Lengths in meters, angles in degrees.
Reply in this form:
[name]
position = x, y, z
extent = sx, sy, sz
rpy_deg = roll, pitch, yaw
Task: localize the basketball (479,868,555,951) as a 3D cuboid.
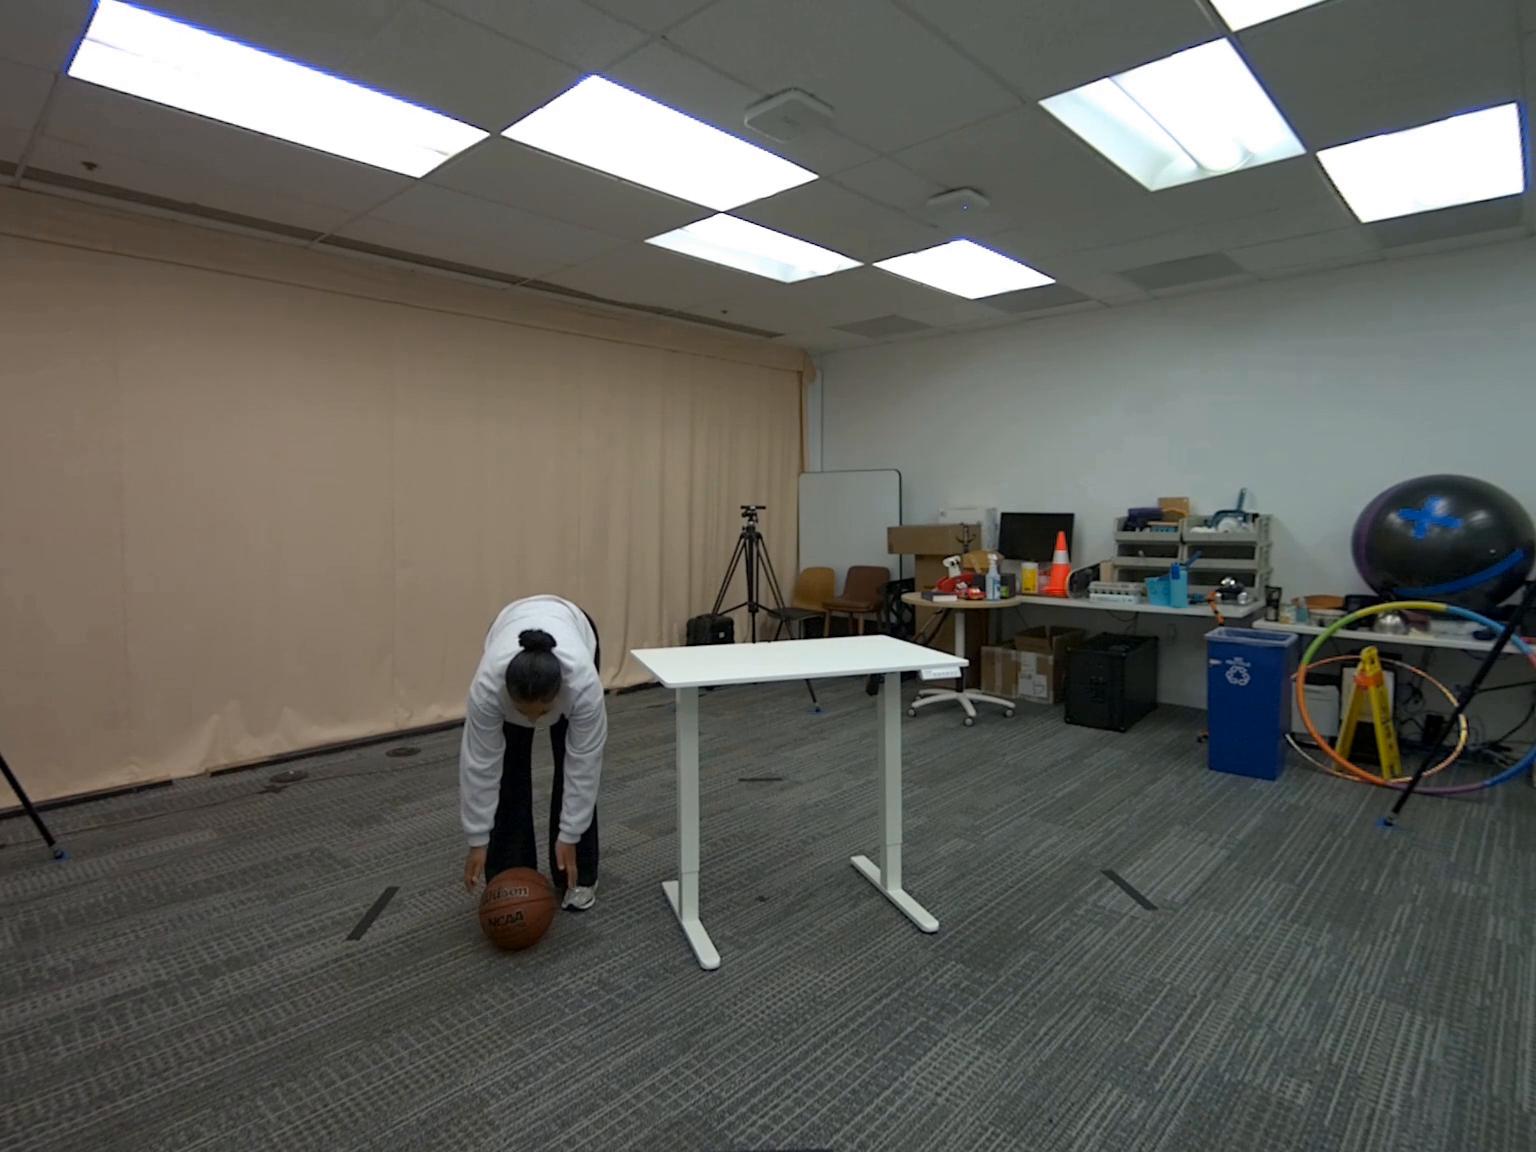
[basketball]
position = -0.801, 1.050, 2.680
extent = 0.236, 0.235, 0.237
rpy_deg = 0, 4, -2
